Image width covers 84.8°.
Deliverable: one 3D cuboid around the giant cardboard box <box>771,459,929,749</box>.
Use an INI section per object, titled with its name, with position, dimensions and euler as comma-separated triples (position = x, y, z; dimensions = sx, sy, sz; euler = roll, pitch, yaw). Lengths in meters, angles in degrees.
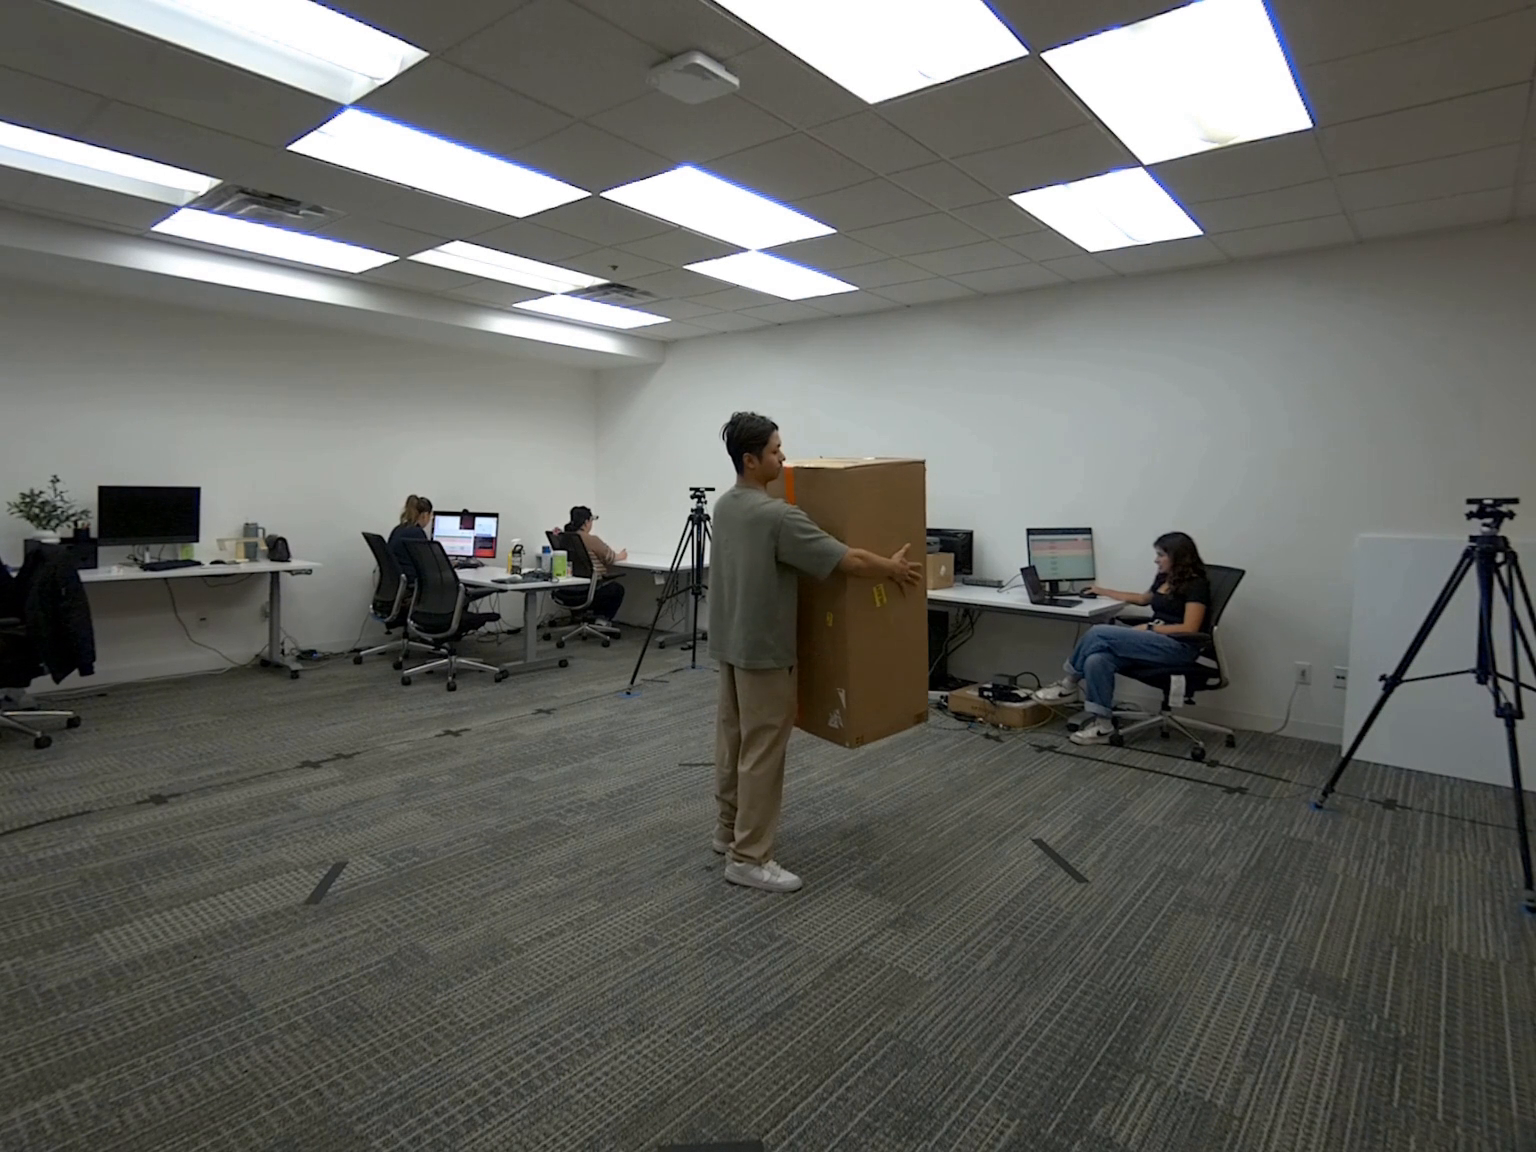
[giant cardboard box]
position = 0.260, 0.055, 3.344
dimensions = 0.415, 1.018, 0.597
euler = -8, 10, -37
